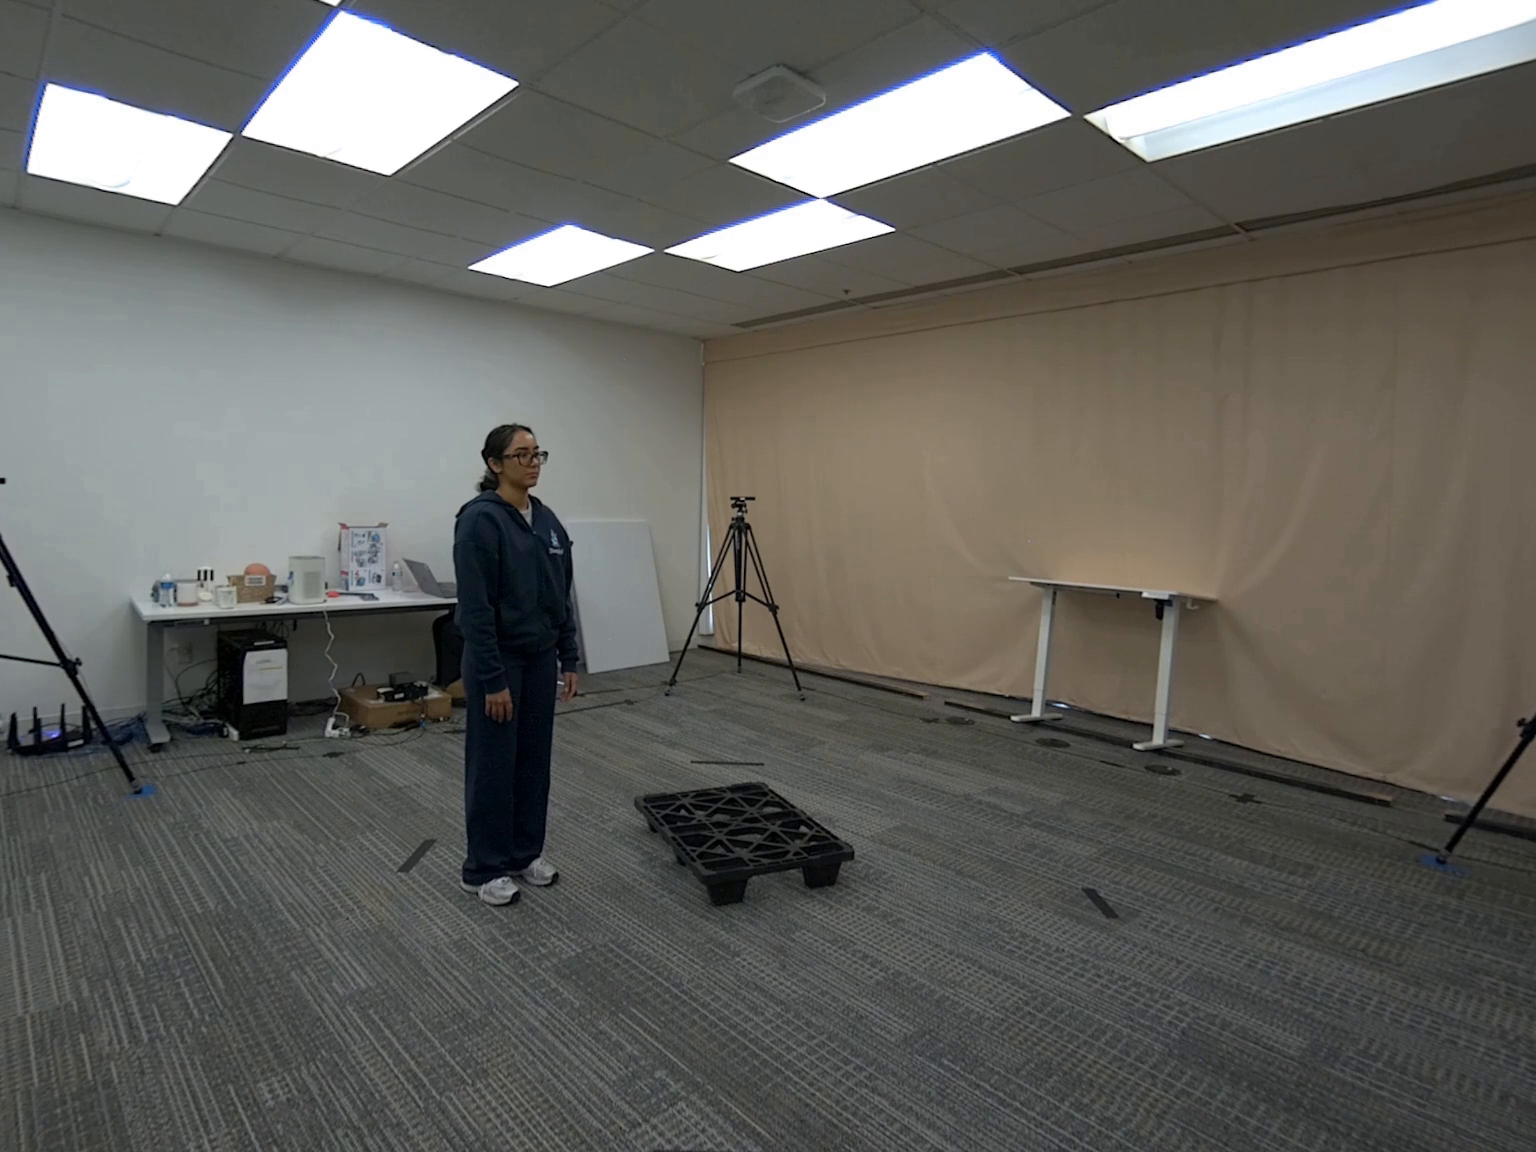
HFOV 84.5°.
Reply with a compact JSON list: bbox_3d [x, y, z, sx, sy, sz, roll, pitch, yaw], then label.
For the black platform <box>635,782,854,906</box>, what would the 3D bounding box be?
[{"bbox_3d":[-0.131,1.024,3.290,0.594,0.143,0.822,0,5,-25],"label":"black platform"}]
